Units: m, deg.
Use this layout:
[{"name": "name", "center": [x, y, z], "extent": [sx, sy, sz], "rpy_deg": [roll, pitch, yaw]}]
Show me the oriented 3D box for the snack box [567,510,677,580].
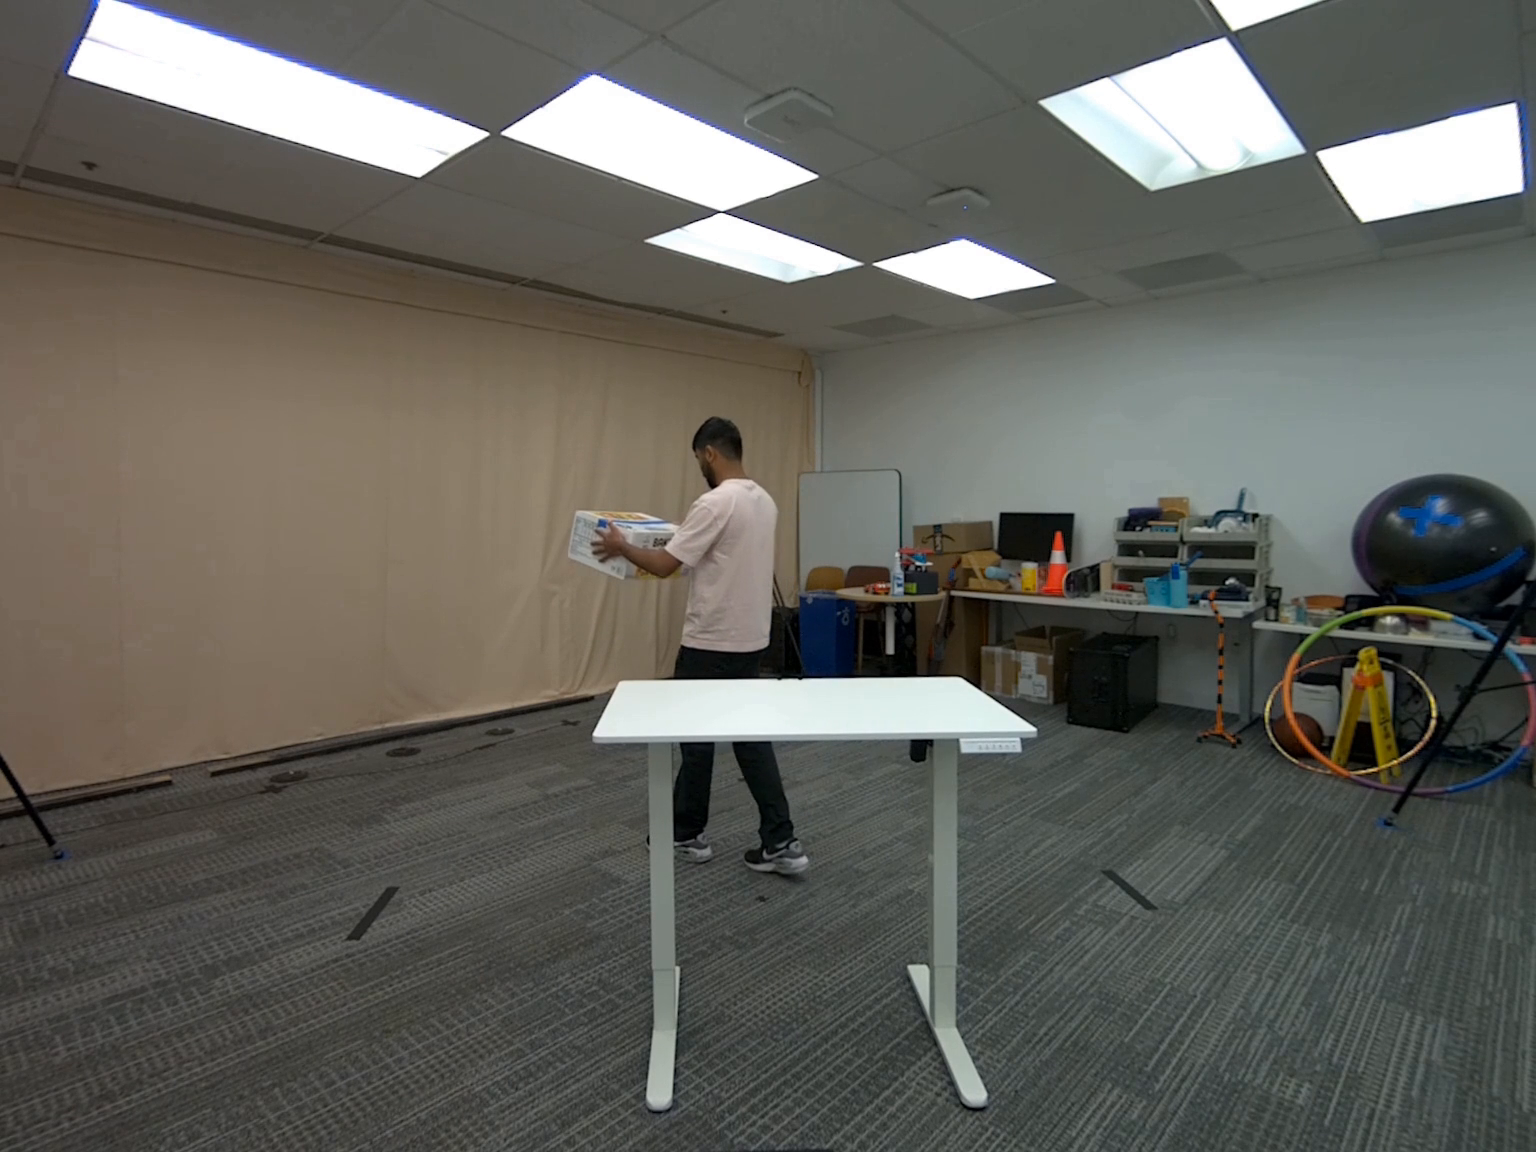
[{"name": "snack box", "center": [-0.558, -0.123, 3.531], "extent": [0.352, 0.205, 0.393], "rpy_deg": [19, 12, 33]}]
